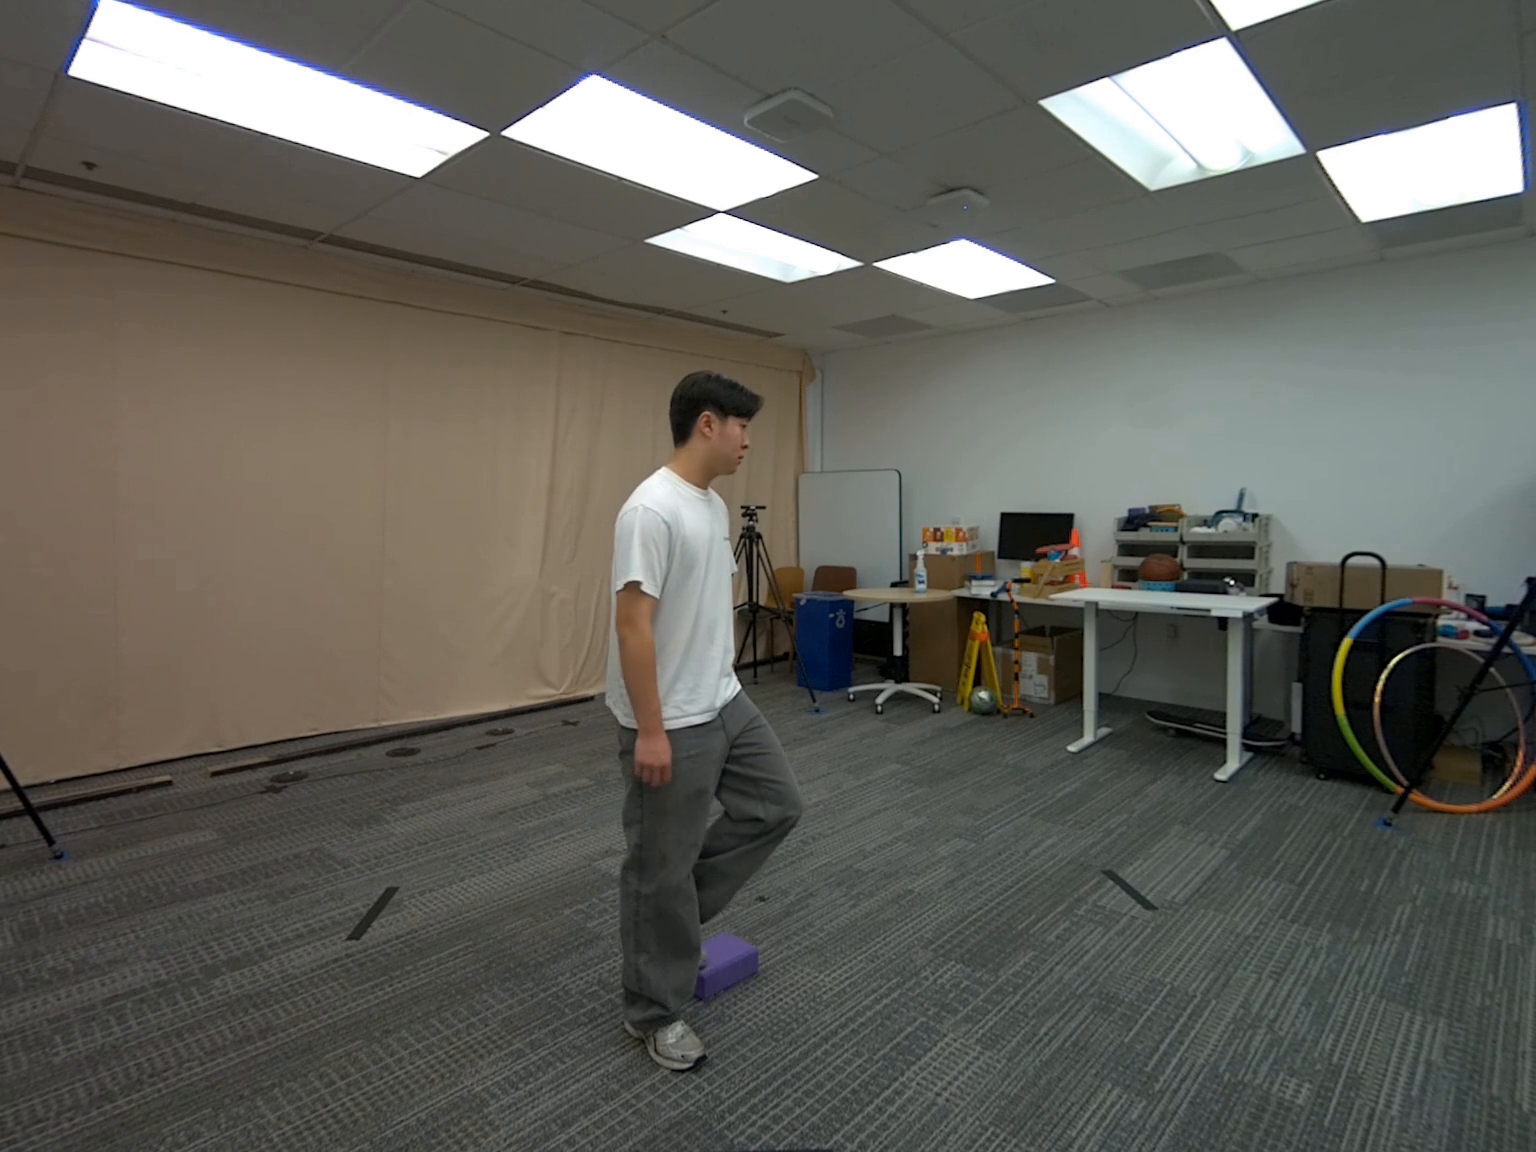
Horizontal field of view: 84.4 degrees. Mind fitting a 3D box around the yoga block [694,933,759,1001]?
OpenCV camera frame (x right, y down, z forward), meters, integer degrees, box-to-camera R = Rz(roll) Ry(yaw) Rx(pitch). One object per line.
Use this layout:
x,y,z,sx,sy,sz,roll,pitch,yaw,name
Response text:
-0.147,1.150,2.483,0.222,0.076,0.154,-4,7,-44,yoga block
